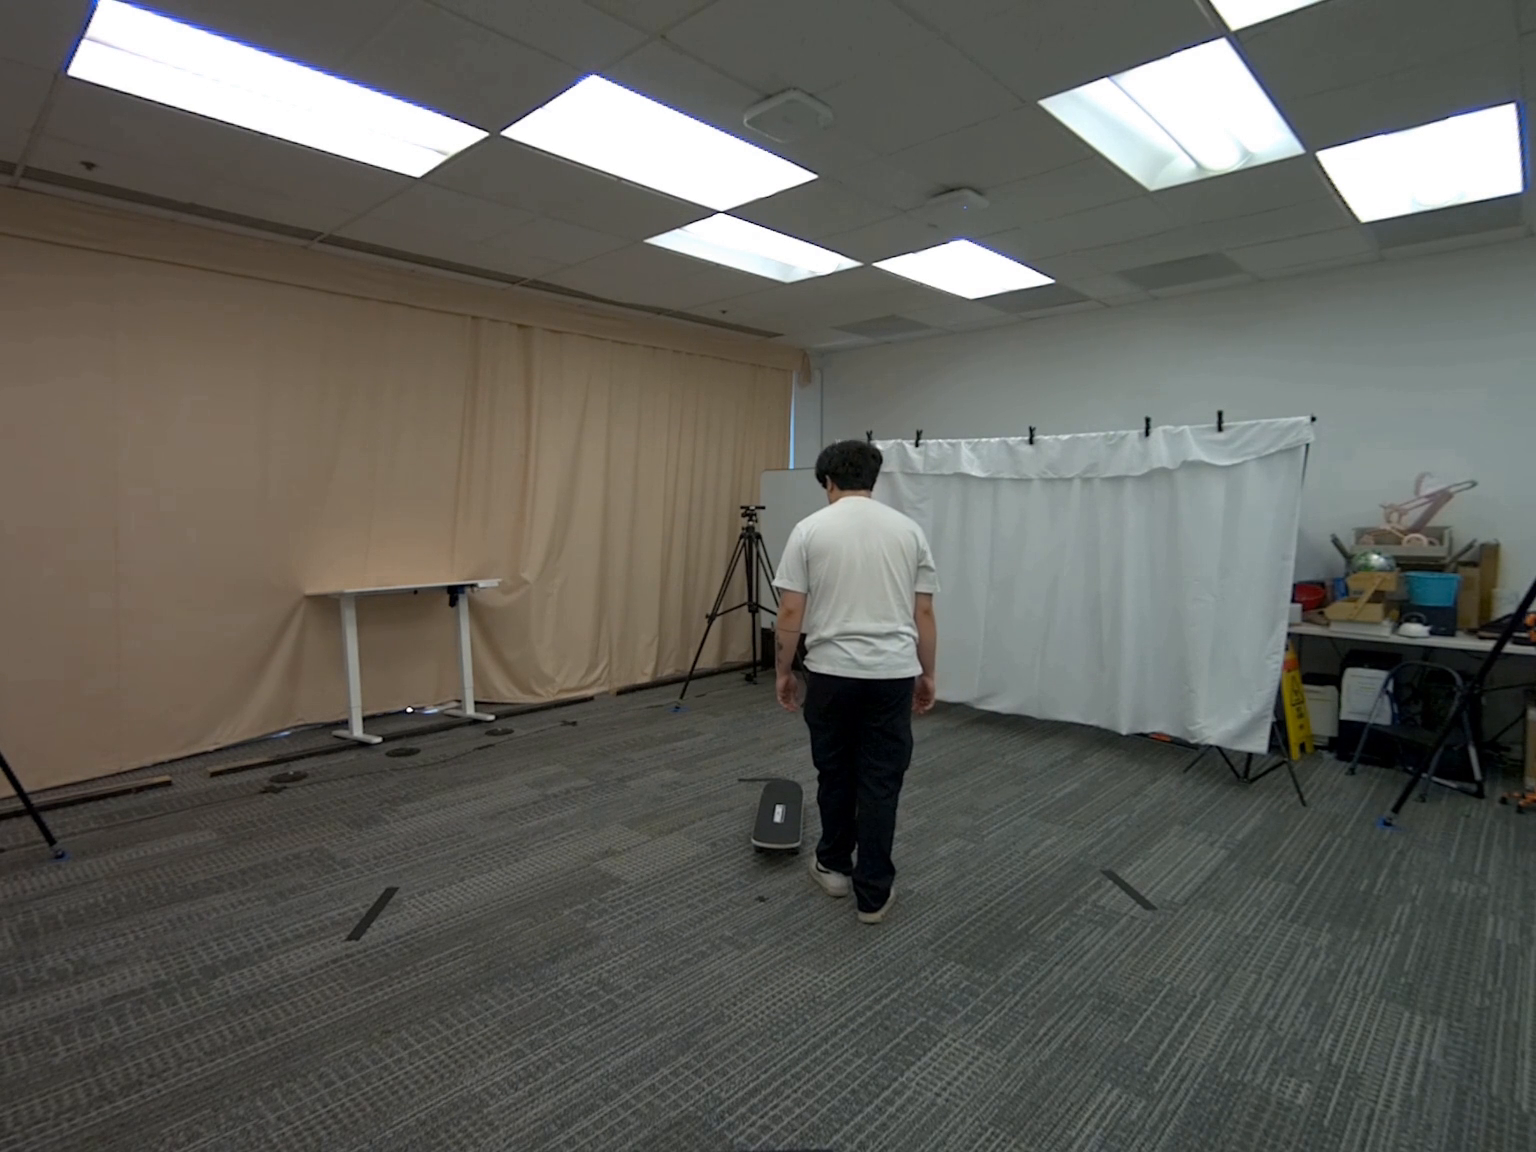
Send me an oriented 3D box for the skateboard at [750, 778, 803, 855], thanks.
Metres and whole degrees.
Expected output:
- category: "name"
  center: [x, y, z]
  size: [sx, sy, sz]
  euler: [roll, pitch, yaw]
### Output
- category: "skateboard"
  center: [0.051, 1.039, 3.576]
  size: [0.195, 0.110, 0.782]
  euler: [0, 5, 4]
